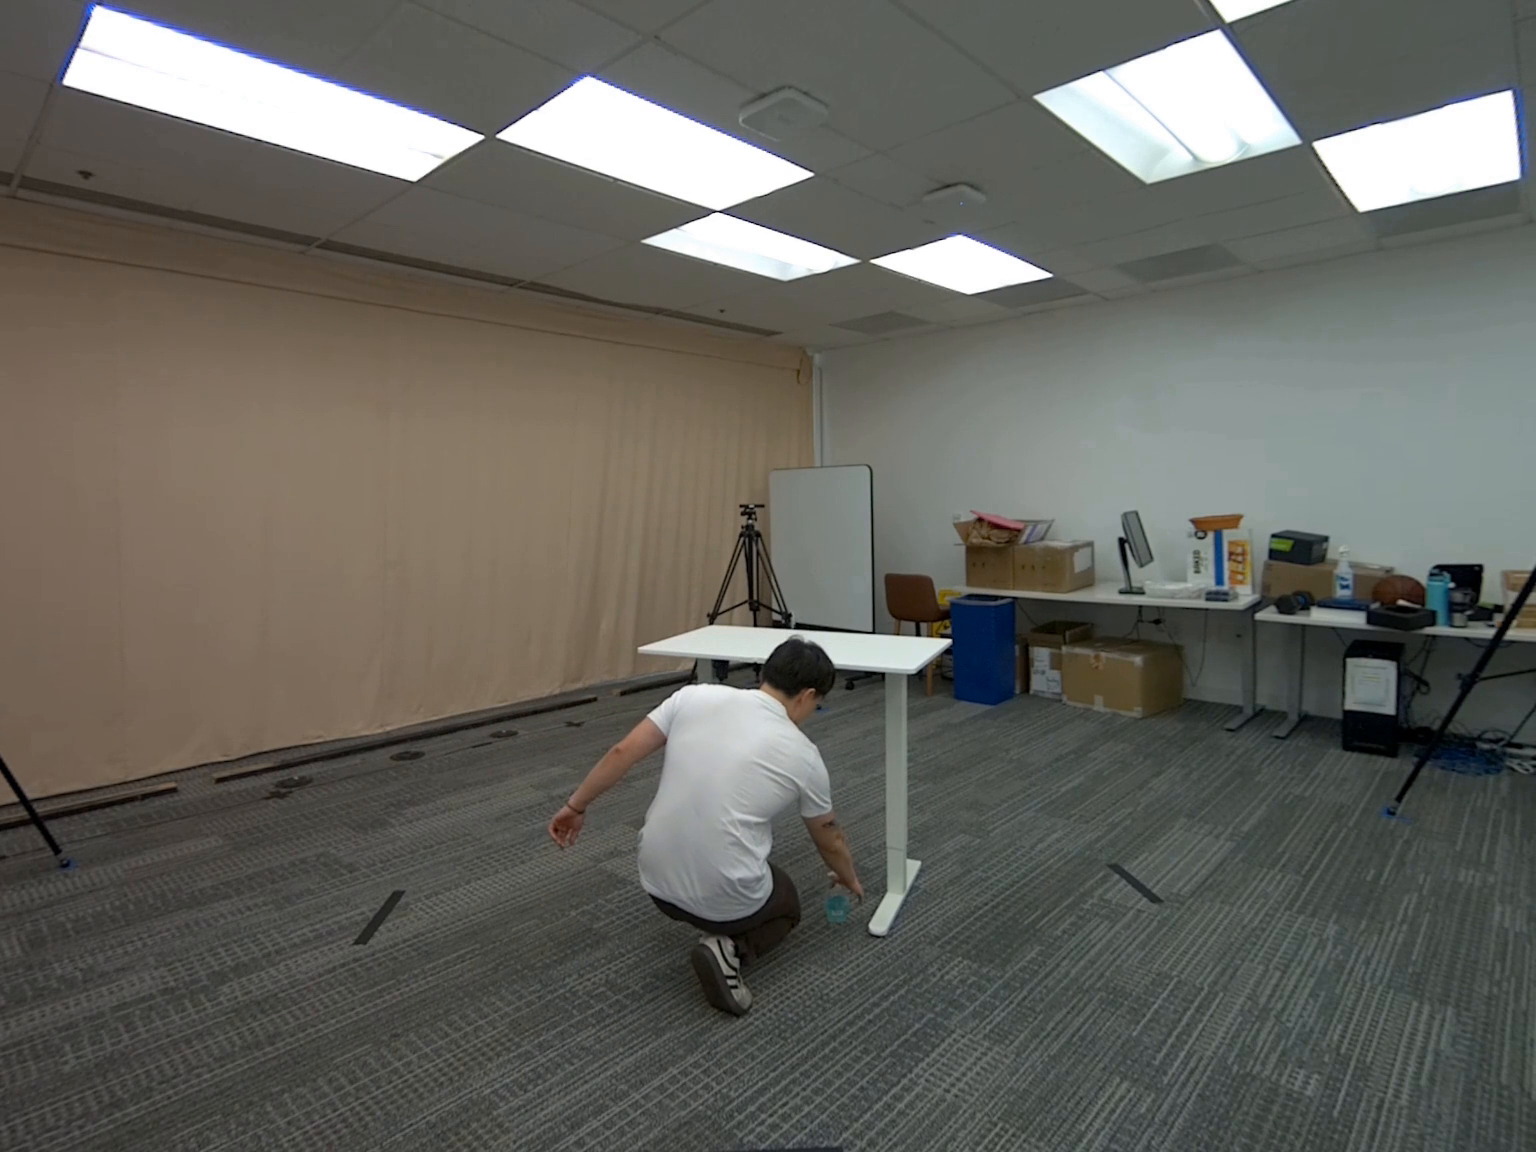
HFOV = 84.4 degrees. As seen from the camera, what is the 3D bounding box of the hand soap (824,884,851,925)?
[{"bbox_3d":[0.226,1.072,2.802,0.084,0.168,0.044,-2,4,-8],"label":"hand soap"}]
